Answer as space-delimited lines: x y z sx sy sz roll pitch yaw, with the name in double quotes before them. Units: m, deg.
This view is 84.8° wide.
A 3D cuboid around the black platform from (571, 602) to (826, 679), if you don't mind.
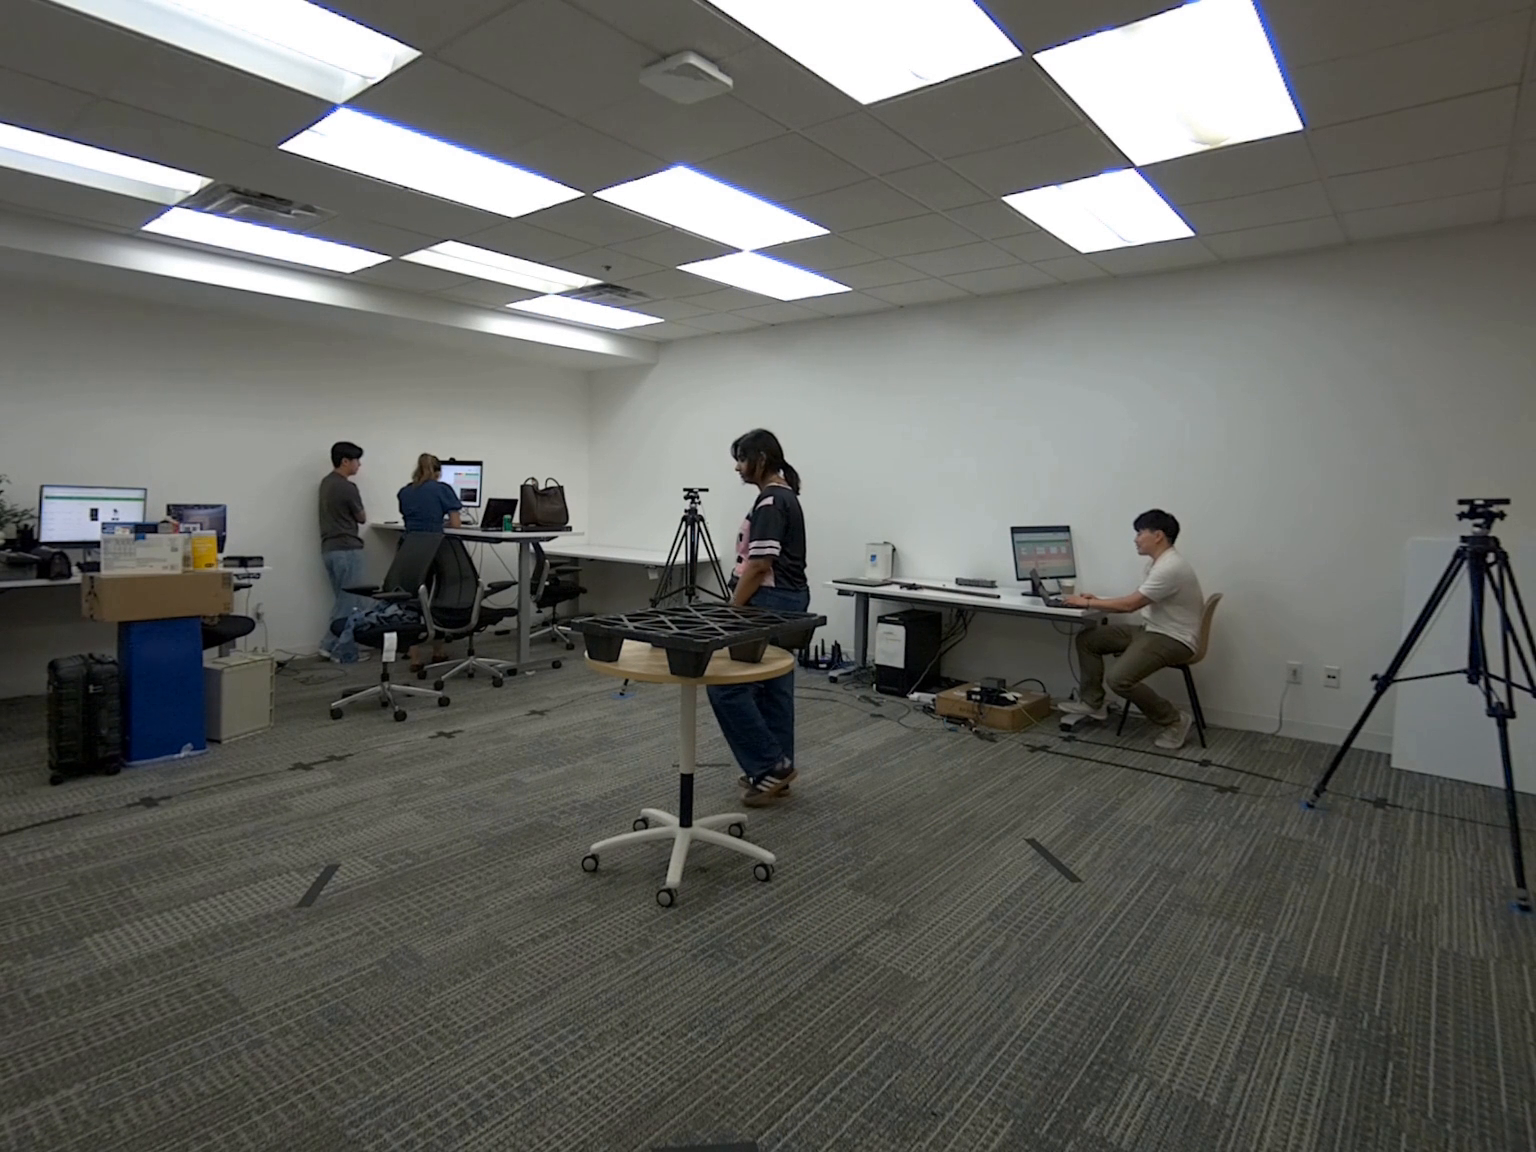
"black platform" -0.235 0.224 3.131 0.625 0.143 0.783 5 7 34
